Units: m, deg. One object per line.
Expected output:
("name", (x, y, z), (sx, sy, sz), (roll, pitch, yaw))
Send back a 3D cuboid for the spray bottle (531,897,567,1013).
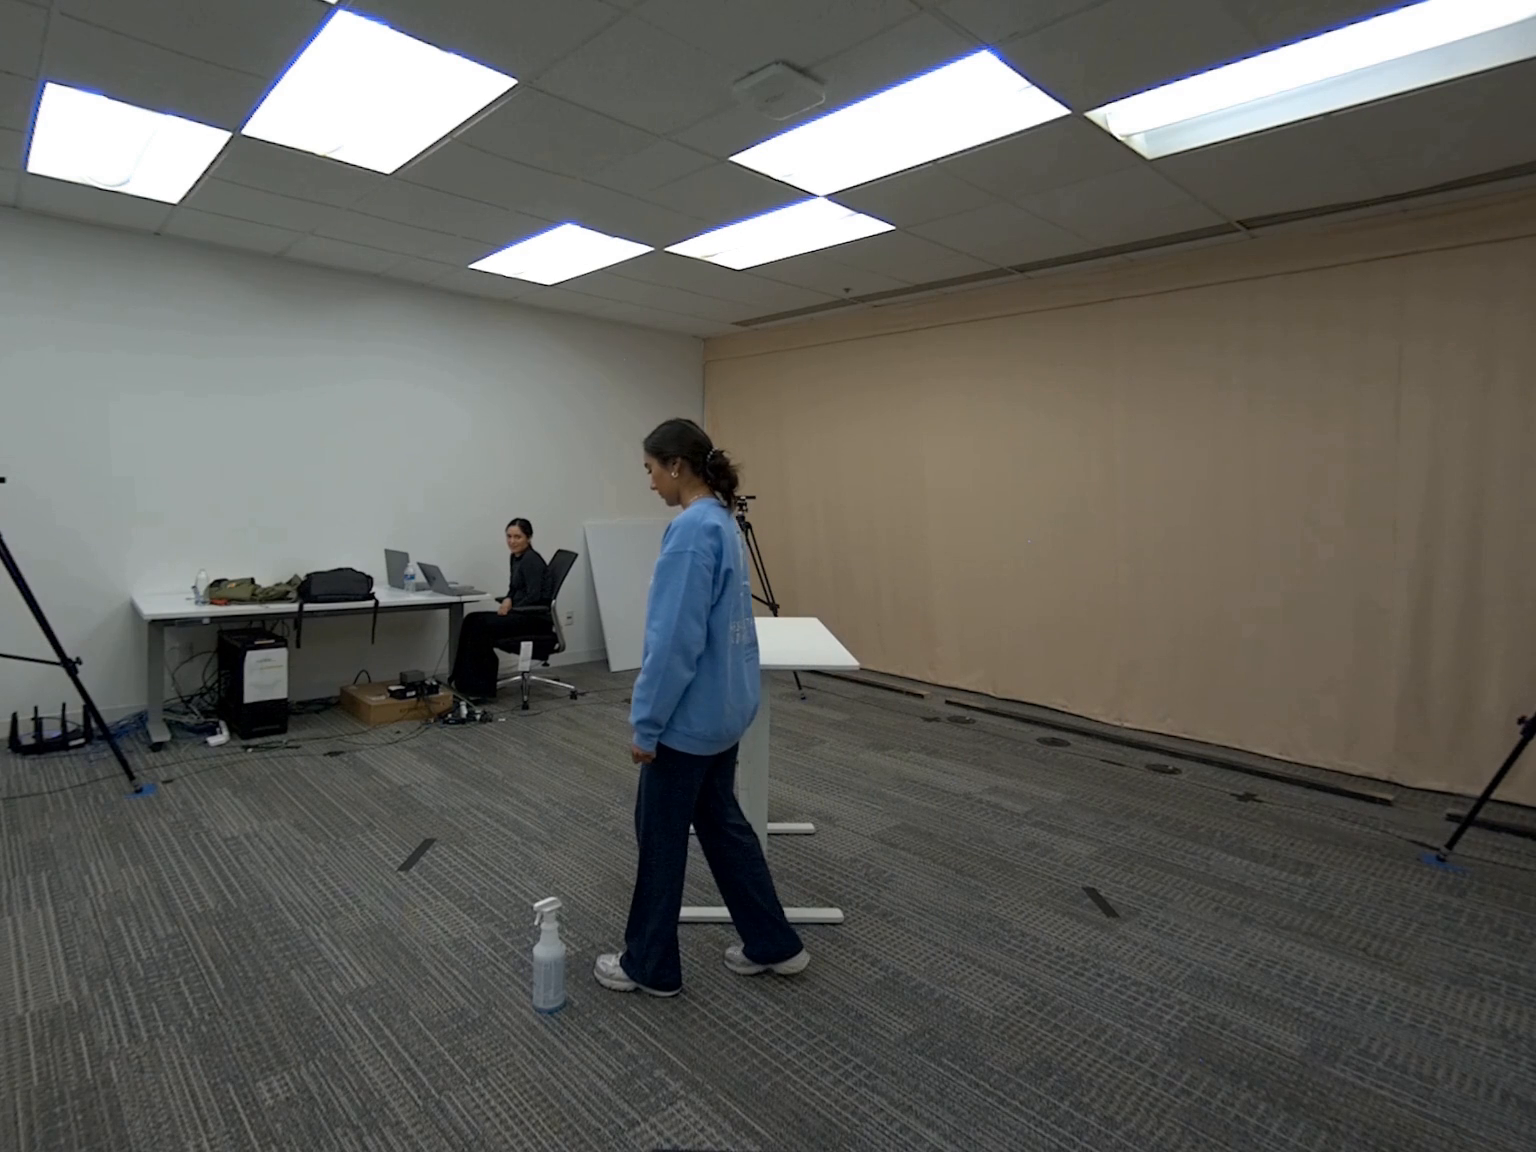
("spray bottle", (-0.592, 1.020, 2.284), (0.088, 0.296, 0.089), (-2, 6, -27))
